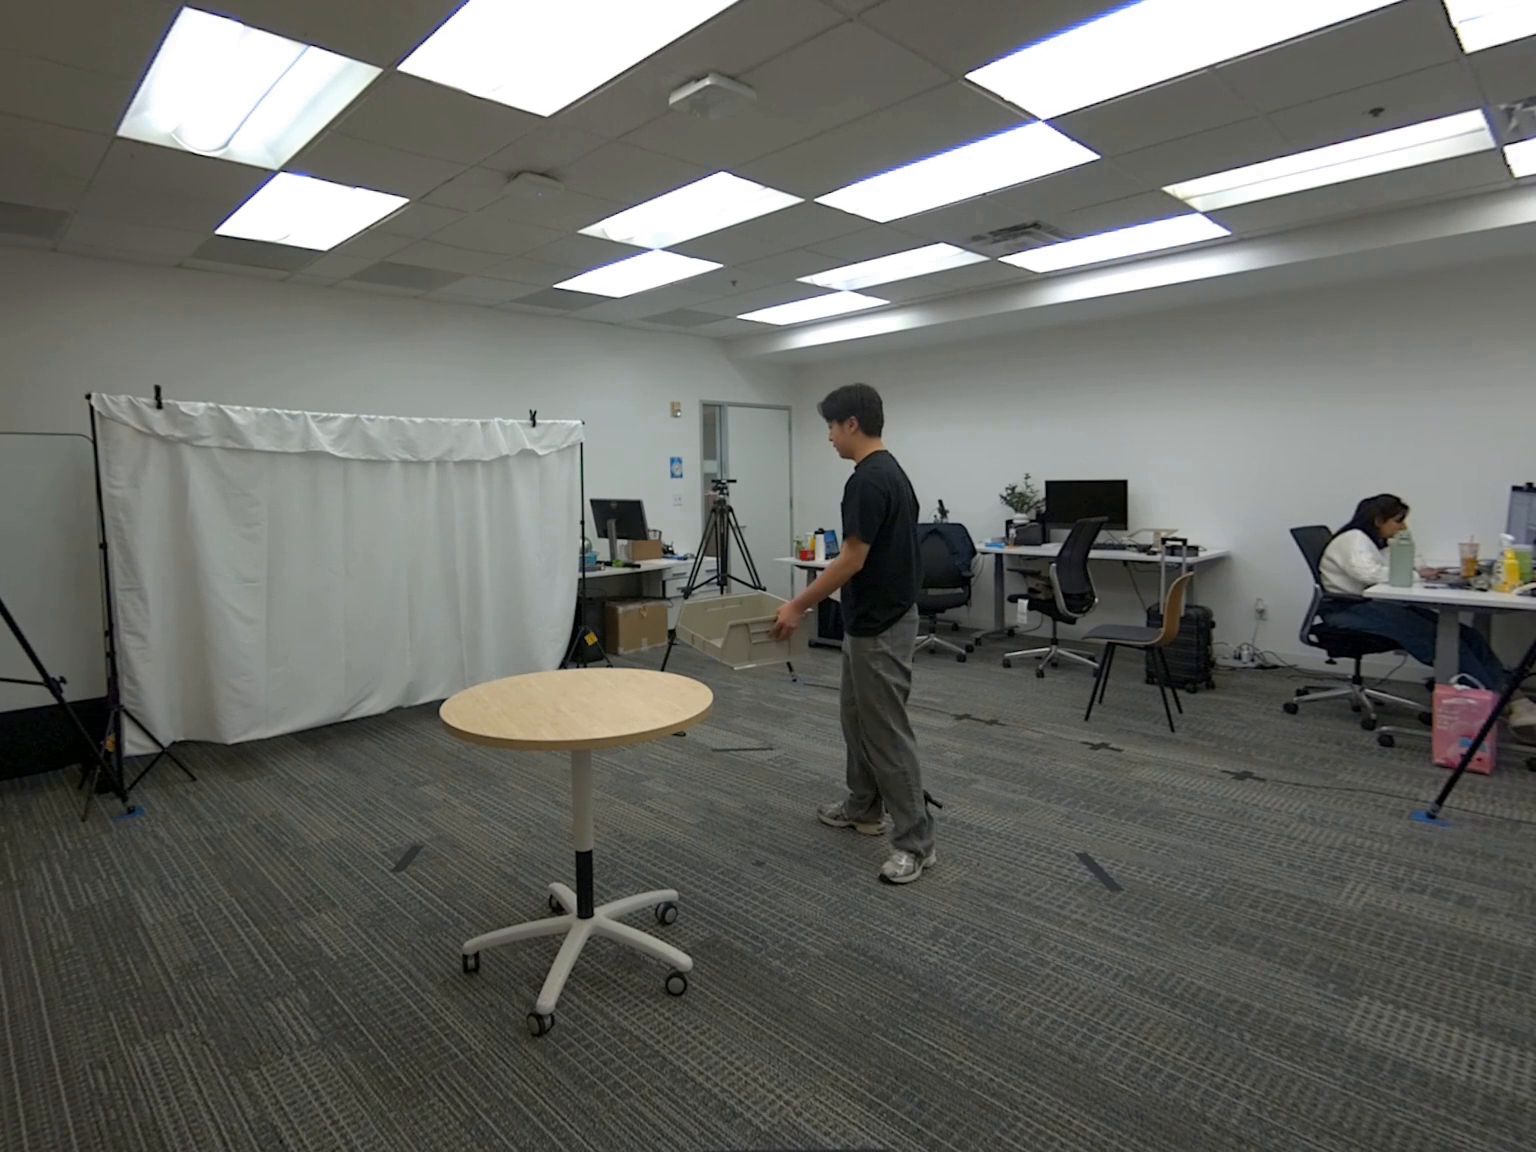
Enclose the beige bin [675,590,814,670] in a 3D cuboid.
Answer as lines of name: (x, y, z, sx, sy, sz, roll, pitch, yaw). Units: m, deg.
beige bin: (-0.097, 0.198, 3.230, 0.369, 0.187, 0.435, -5, 10, -27)
